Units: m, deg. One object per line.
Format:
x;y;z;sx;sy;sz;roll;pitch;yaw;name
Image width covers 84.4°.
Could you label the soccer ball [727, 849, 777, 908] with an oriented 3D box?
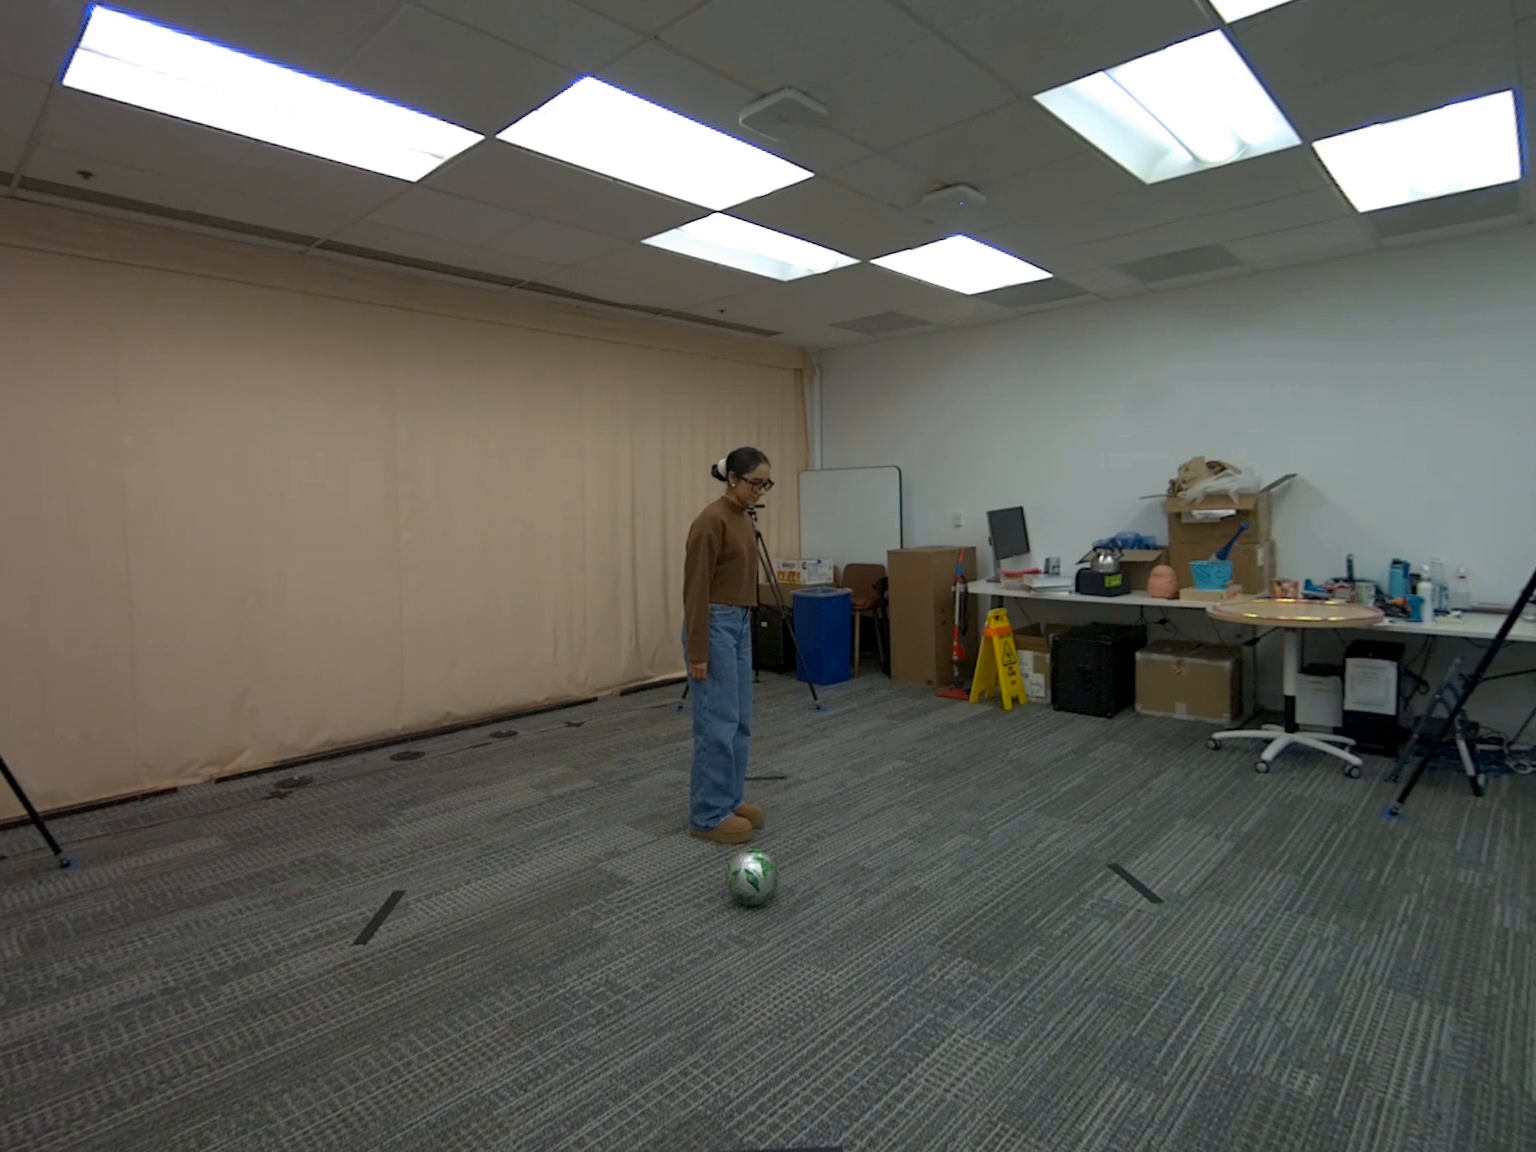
-0.049;1.048;2.934;0.187;0.187;0.188;-1;4;-2;soccer ball
